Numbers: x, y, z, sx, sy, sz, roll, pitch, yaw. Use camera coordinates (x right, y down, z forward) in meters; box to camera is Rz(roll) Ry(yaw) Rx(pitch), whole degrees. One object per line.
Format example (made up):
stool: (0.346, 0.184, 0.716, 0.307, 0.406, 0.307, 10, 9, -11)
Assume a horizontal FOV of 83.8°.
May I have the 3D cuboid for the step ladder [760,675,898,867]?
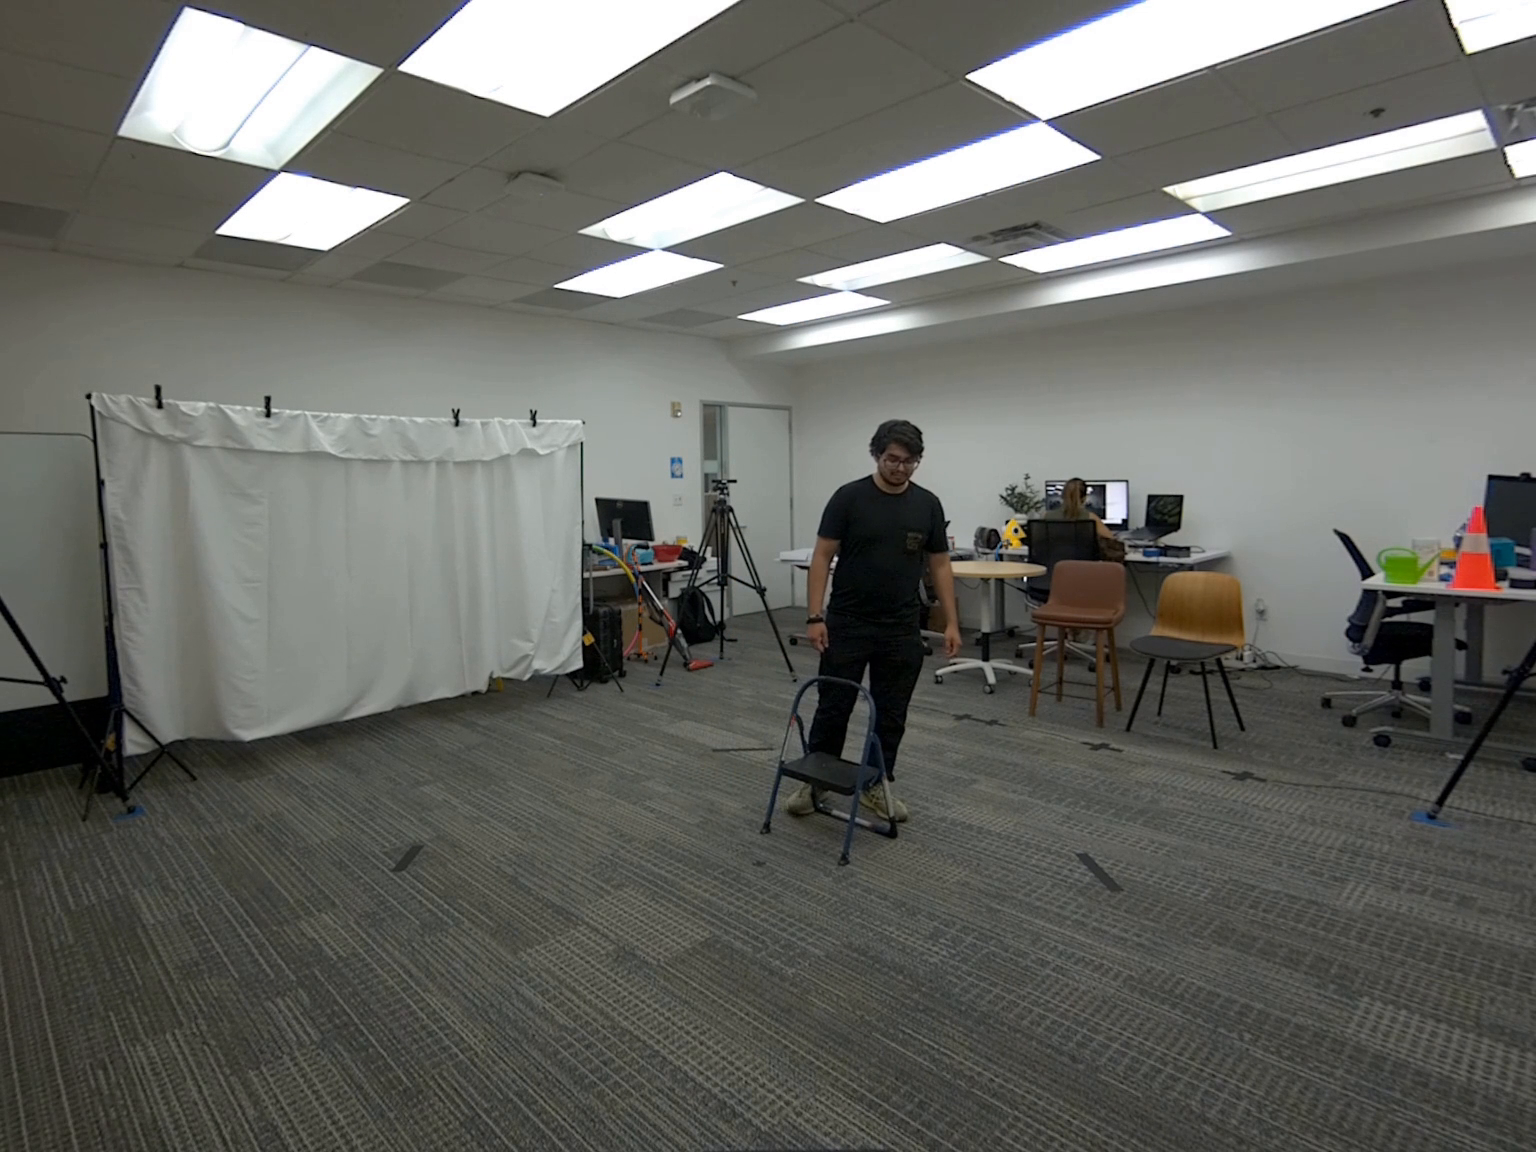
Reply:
step ladder: (0.239, 0.715, 3.328, 0.340, 0.604, 0.444, -4, 5, -44)
